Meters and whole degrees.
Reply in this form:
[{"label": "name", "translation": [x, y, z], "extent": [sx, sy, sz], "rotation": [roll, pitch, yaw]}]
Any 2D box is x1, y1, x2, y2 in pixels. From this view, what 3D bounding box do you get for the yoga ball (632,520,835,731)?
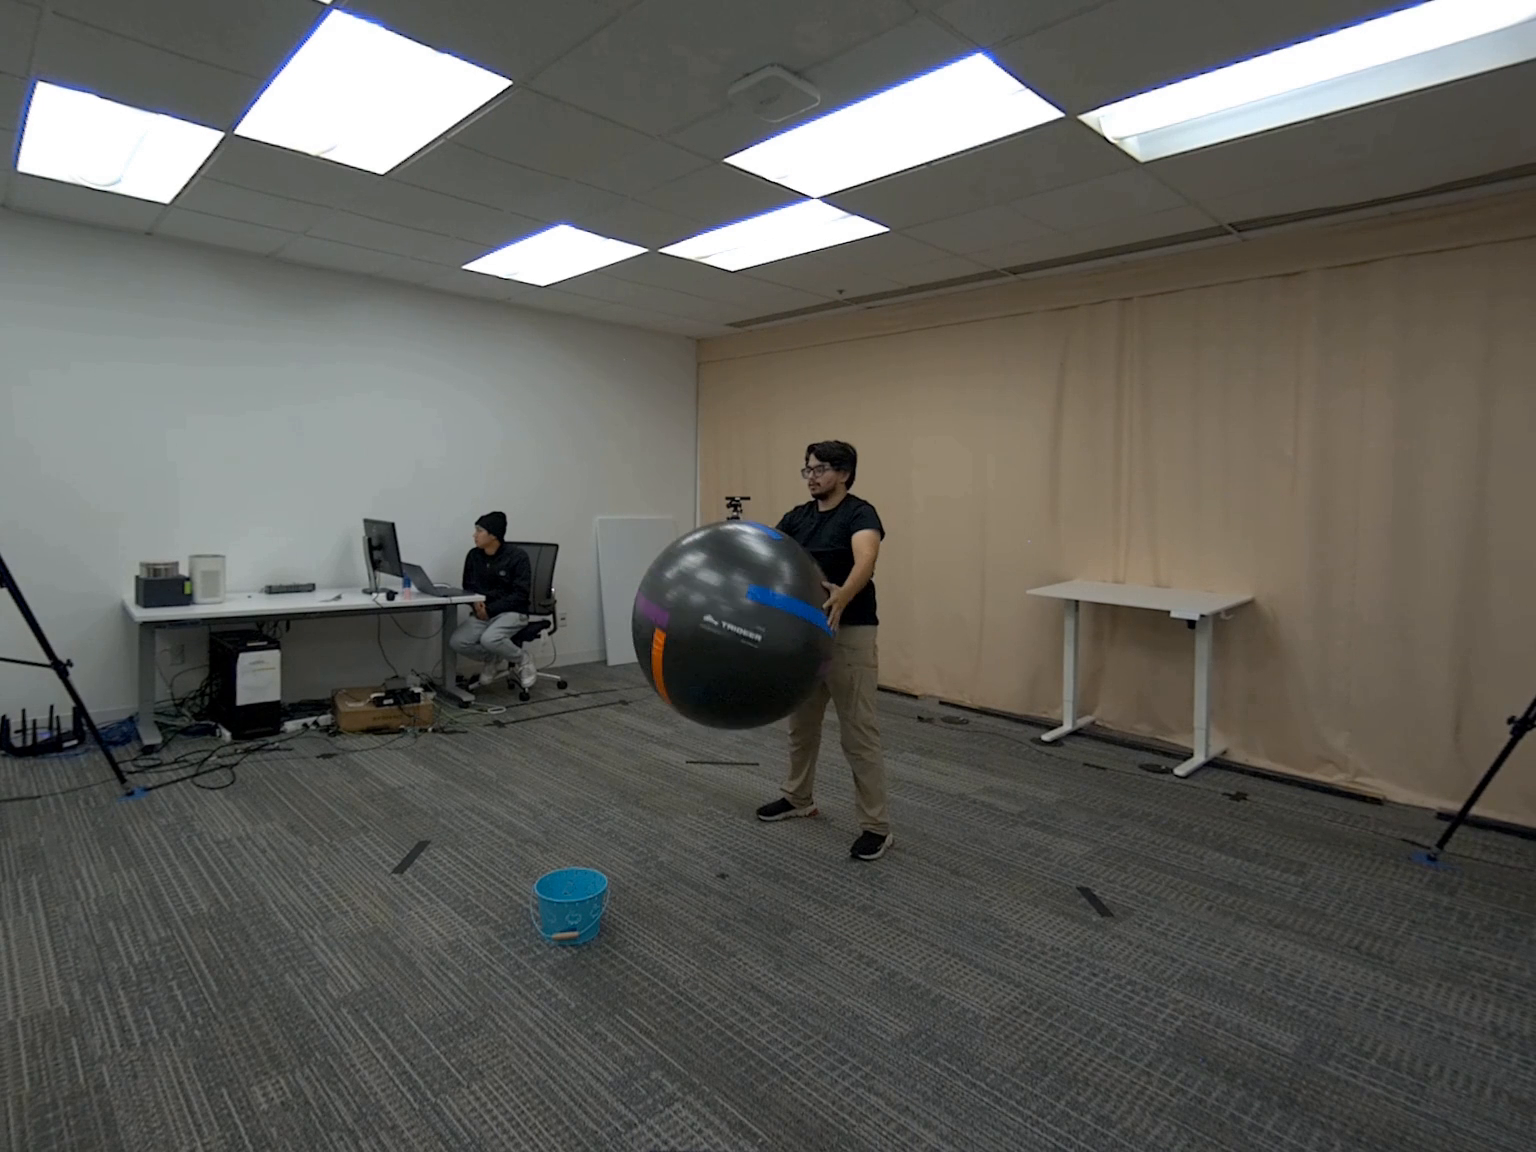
[{"label": "yoga ball", "translation": [-0.121, 0.170, 3.088], "extent": [0.757, 0.756, 0.760], "rotation": [1, 4, -1]}]
